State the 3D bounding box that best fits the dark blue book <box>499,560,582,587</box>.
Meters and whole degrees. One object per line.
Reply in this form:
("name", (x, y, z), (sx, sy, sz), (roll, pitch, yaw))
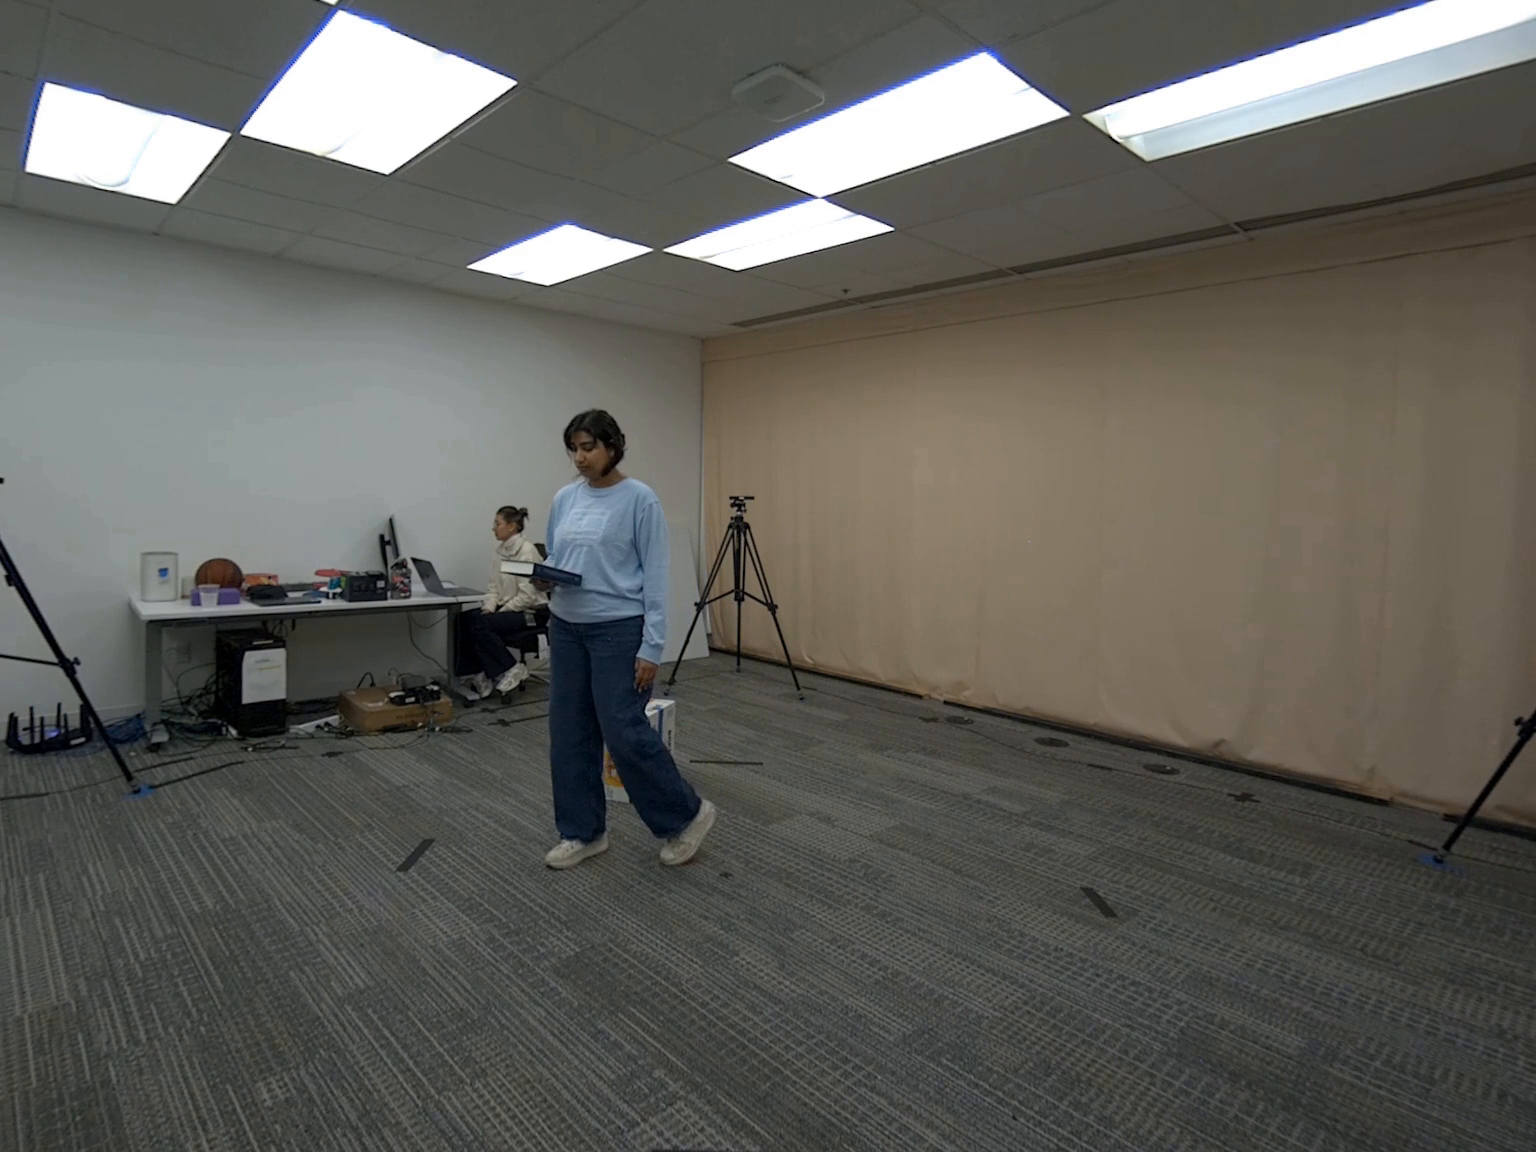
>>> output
("dark blue book", (-0.794, -0.008, 2.925), (0.167, 0.045, 0.238), (6, -7, 31))
